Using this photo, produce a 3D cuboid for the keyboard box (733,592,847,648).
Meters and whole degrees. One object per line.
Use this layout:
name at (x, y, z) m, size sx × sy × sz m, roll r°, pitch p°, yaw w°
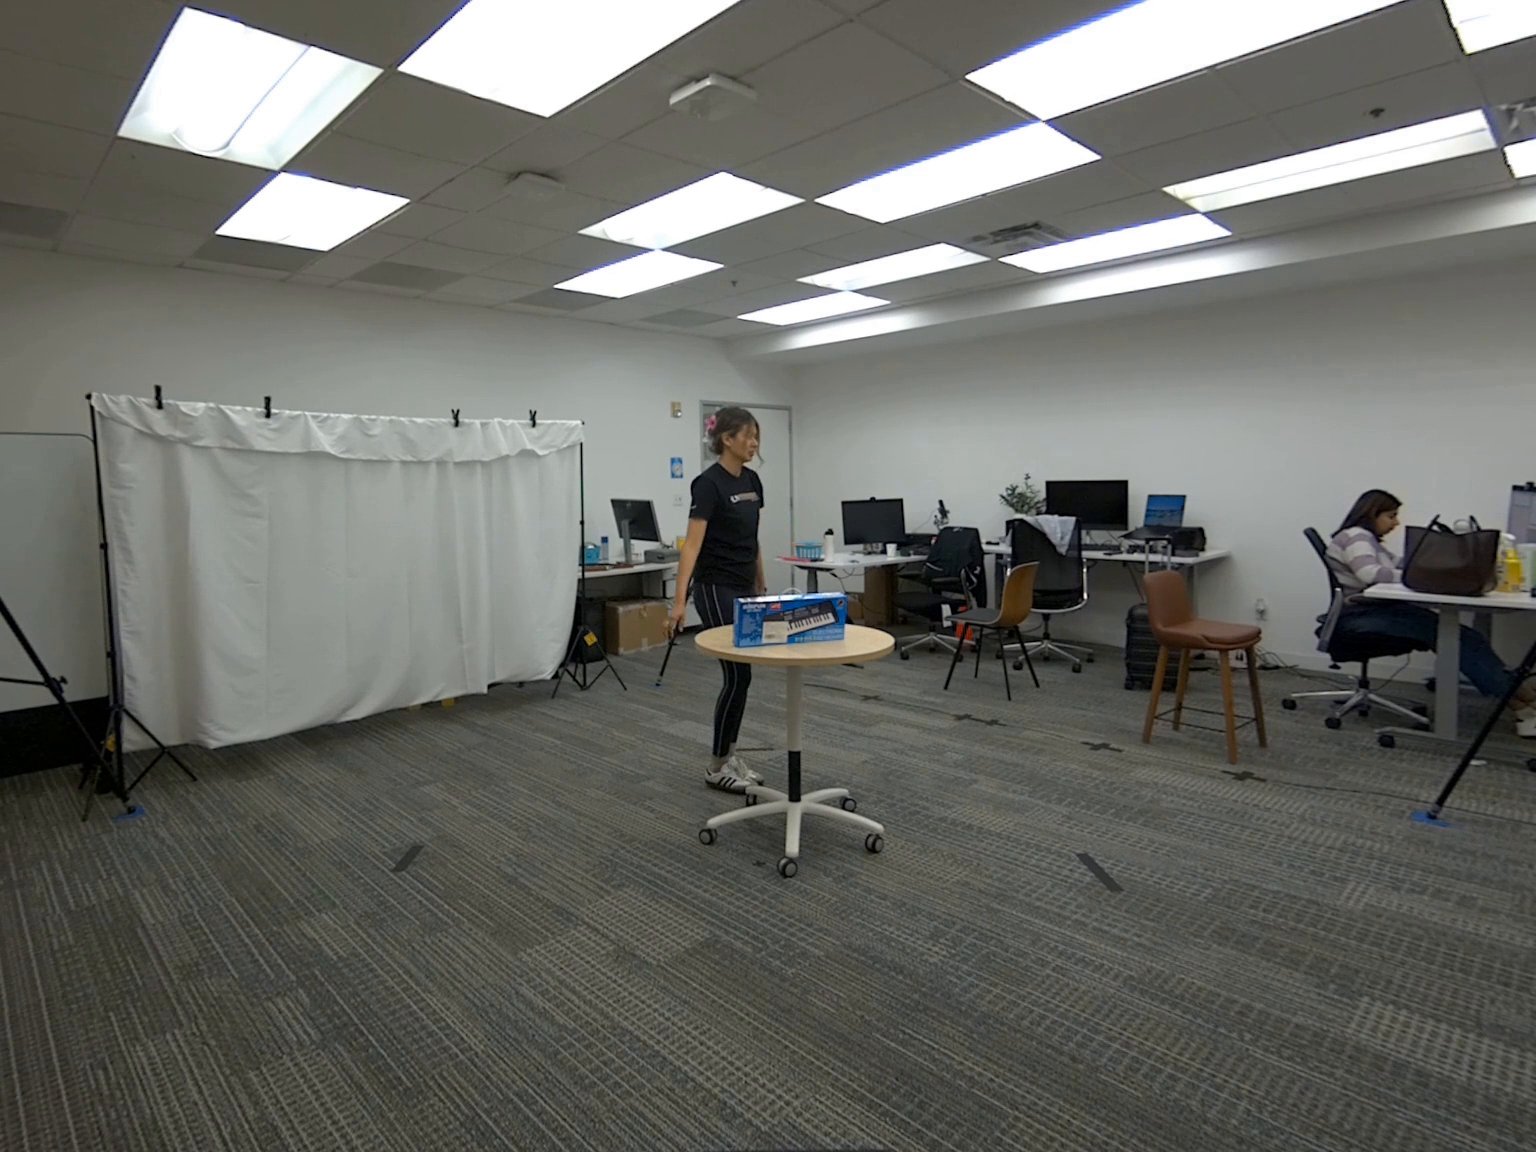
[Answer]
keyboard box at (0.084, 0.165, 3.194) m, size 0.429 × 0.174 × 0.061 m, roll -2°, pitch 10°, yaw -20°
